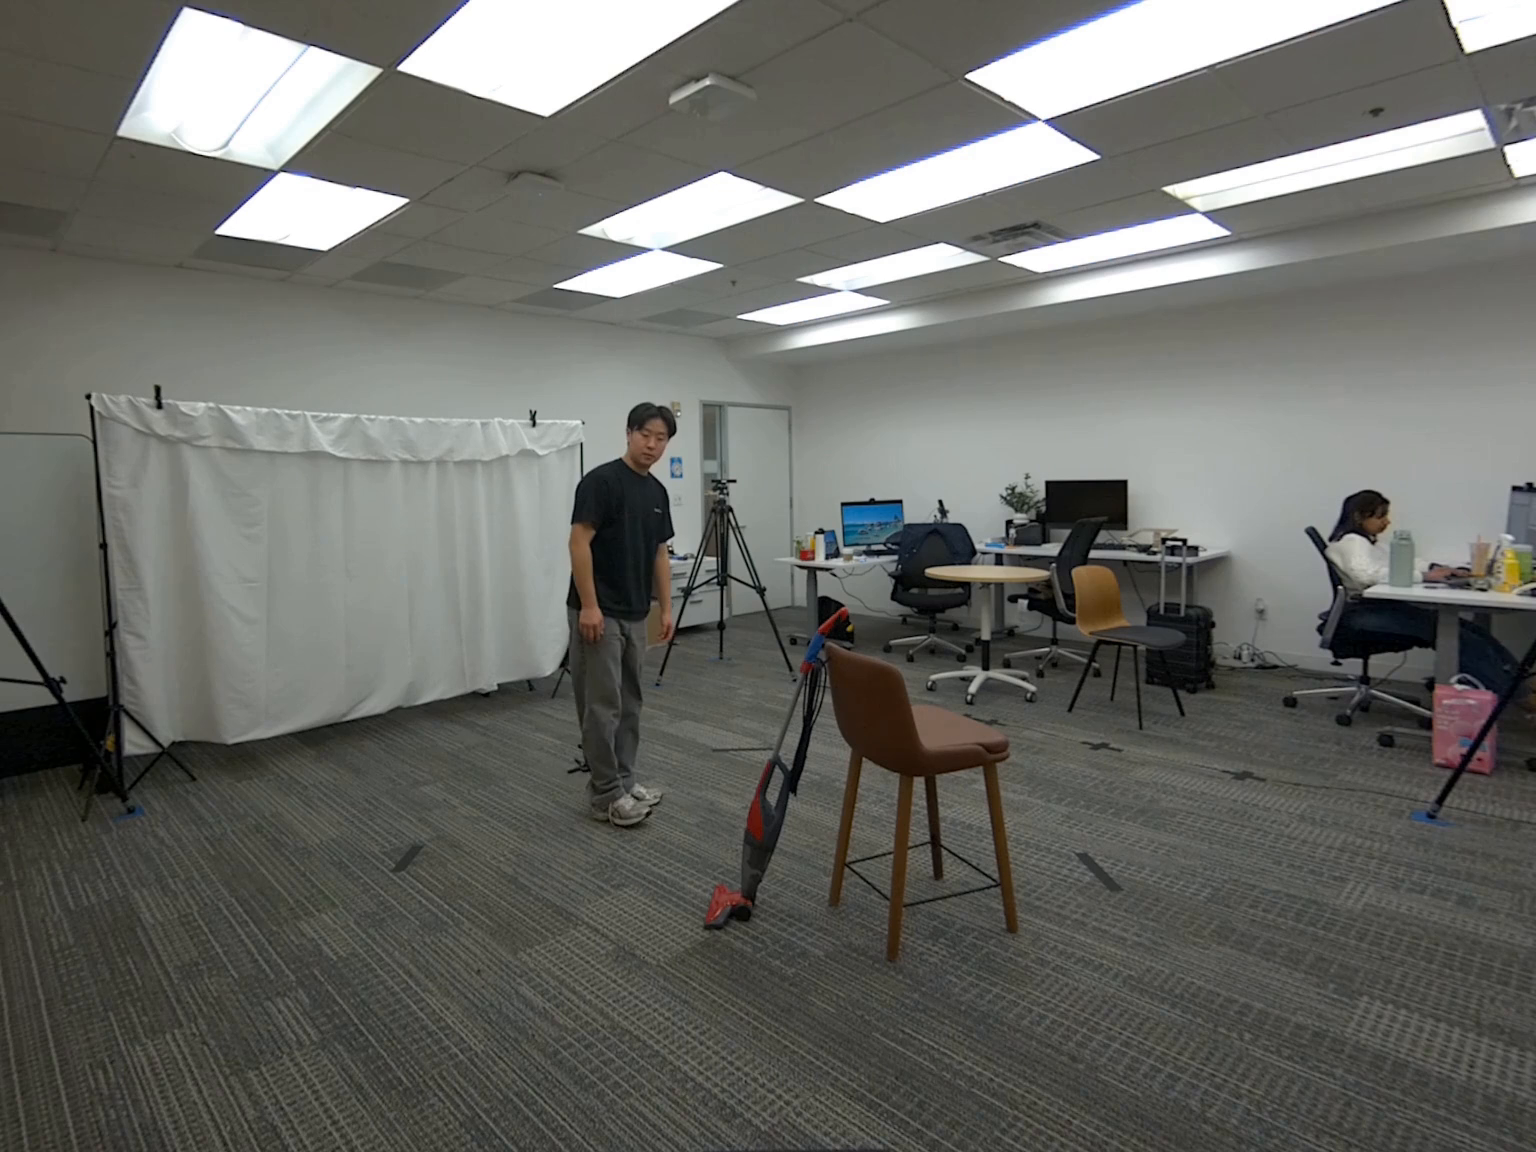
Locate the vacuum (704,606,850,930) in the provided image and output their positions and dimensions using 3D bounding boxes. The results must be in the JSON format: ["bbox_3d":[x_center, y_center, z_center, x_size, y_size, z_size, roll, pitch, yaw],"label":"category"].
[{"bbox_3d":[0.061,0.595,2.711,0.144,1.045,0.253,19,7,-1],"label":"vacuum"}]
